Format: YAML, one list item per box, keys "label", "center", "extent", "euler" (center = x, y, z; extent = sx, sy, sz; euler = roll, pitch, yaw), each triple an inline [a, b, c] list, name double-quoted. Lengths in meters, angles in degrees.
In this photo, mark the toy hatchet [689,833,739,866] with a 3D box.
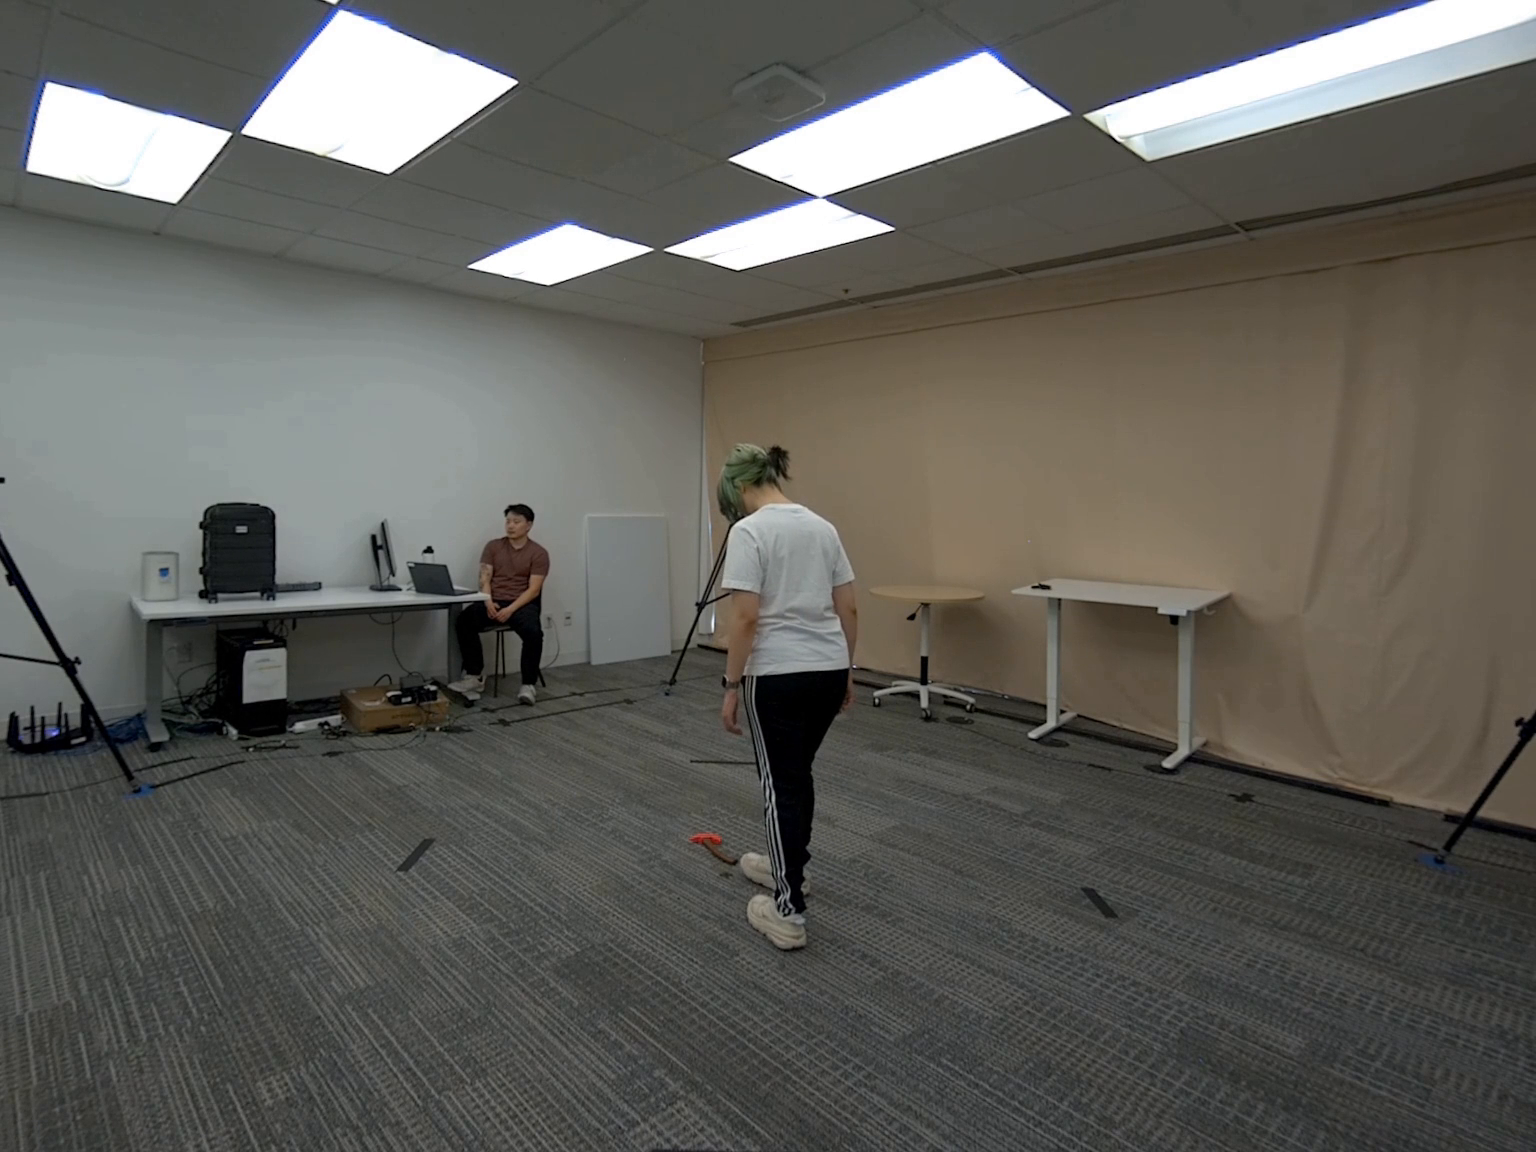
- label: "toy hatchet"
  center: [-0.191, 1.074, 3.325]
  extent: [0.128, 0.029, 0.277]
  euler: [-1, 8, -42]
